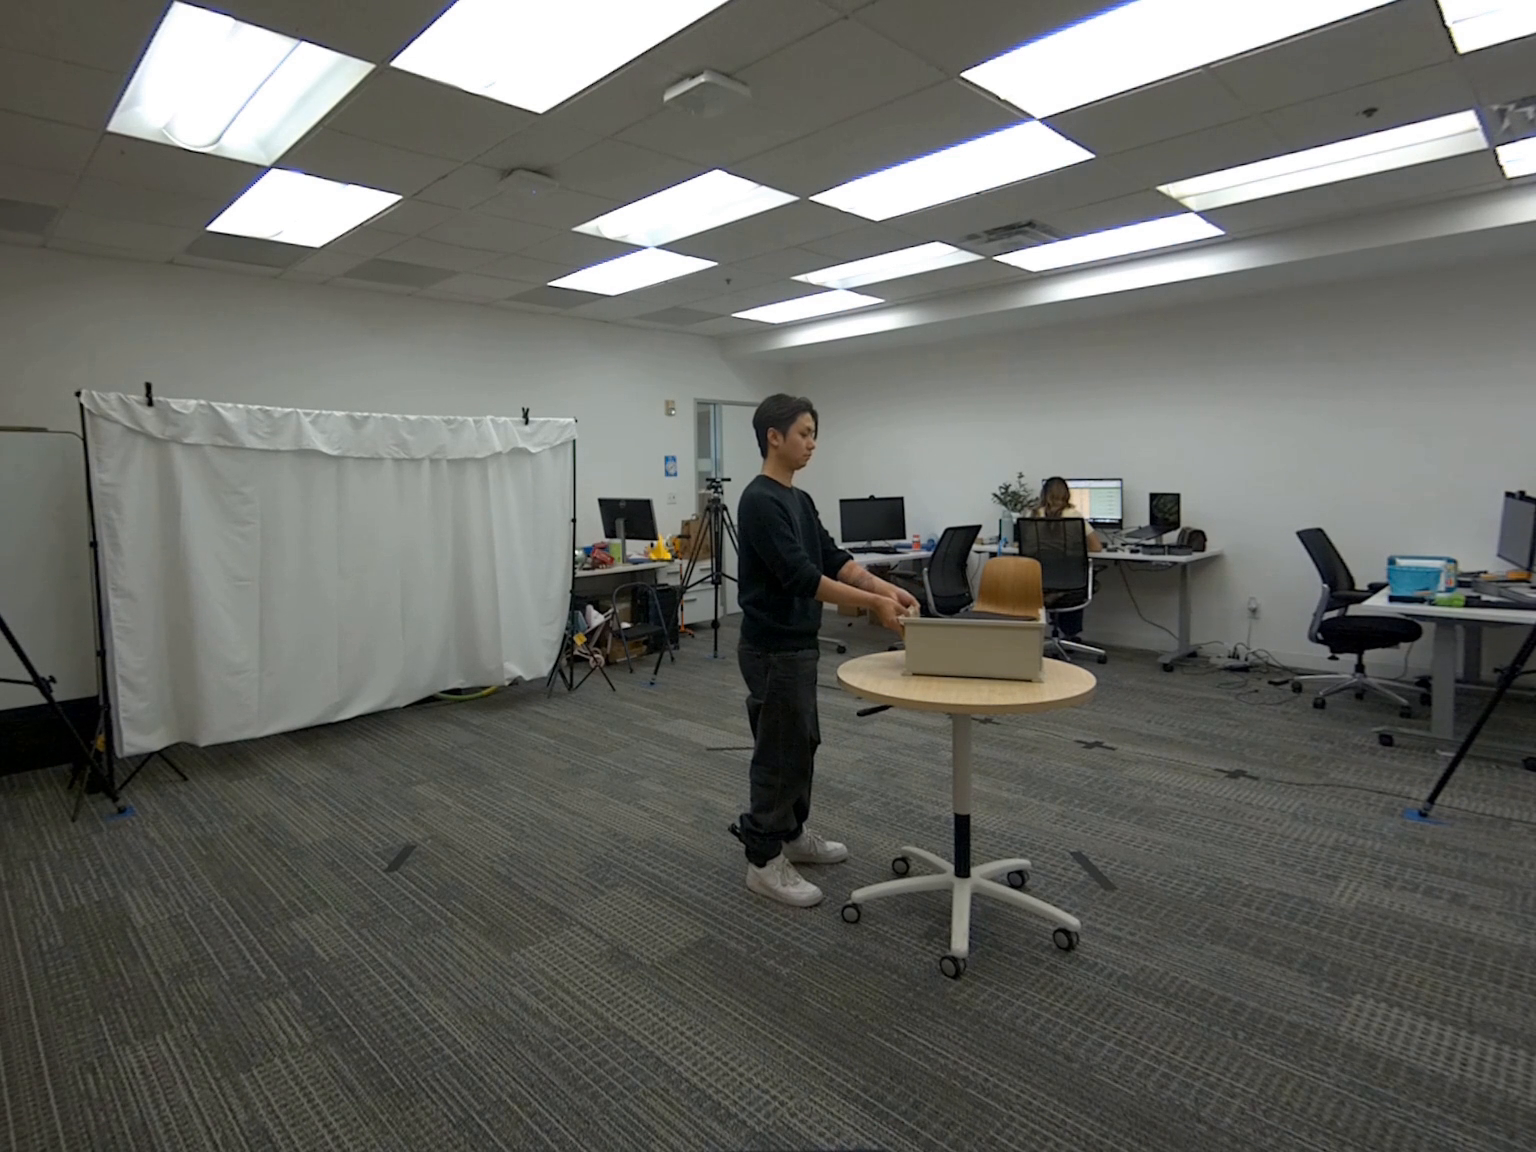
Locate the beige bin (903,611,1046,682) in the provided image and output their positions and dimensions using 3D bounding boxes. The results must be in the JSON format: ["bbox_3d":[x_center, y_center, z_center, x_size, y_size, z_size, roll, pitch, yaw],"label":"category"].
[{"bbox_3d":[0.660,0.201,2.708,0.430,0.188,0.373,1,8,18],"label":"beige bin"}]
